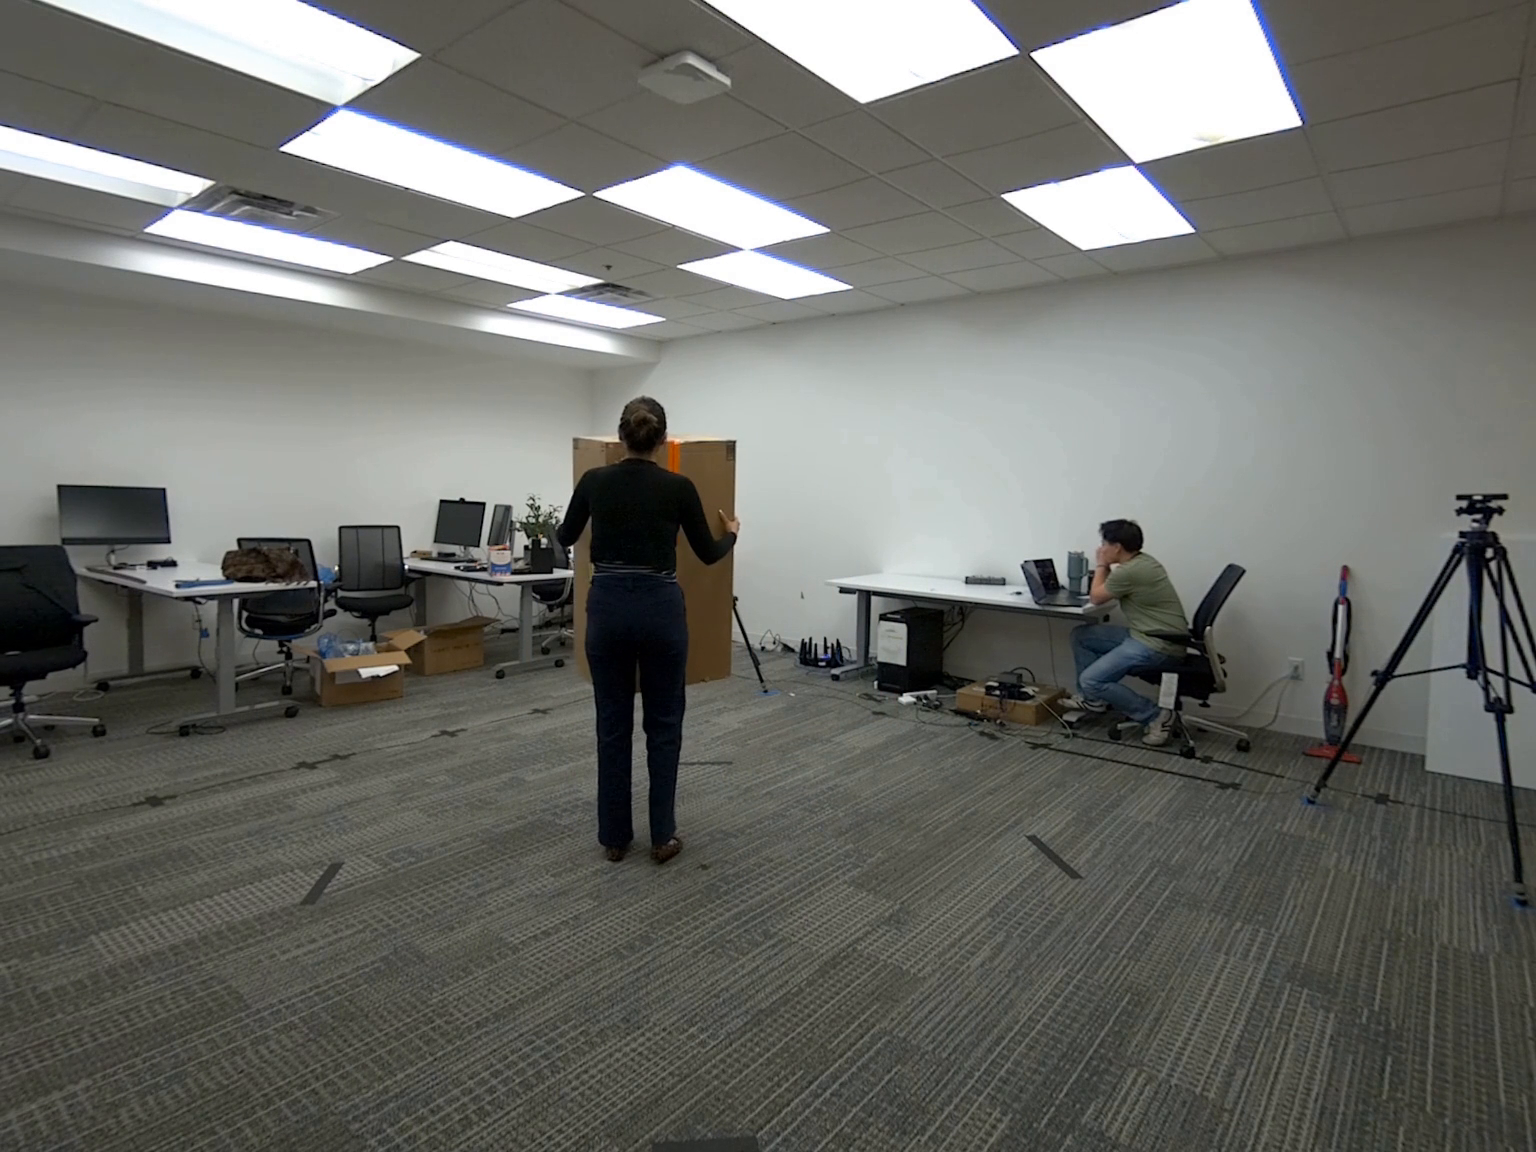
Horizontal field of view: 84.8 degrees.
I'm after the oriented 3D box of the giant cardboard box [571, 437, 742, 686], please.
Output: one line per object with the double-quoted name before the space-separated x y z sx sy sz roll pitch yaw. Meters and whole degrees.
"giant cardboard box" -0.500 -0.078 3.639 0.563 1.017 0.440 -4 10 -28
